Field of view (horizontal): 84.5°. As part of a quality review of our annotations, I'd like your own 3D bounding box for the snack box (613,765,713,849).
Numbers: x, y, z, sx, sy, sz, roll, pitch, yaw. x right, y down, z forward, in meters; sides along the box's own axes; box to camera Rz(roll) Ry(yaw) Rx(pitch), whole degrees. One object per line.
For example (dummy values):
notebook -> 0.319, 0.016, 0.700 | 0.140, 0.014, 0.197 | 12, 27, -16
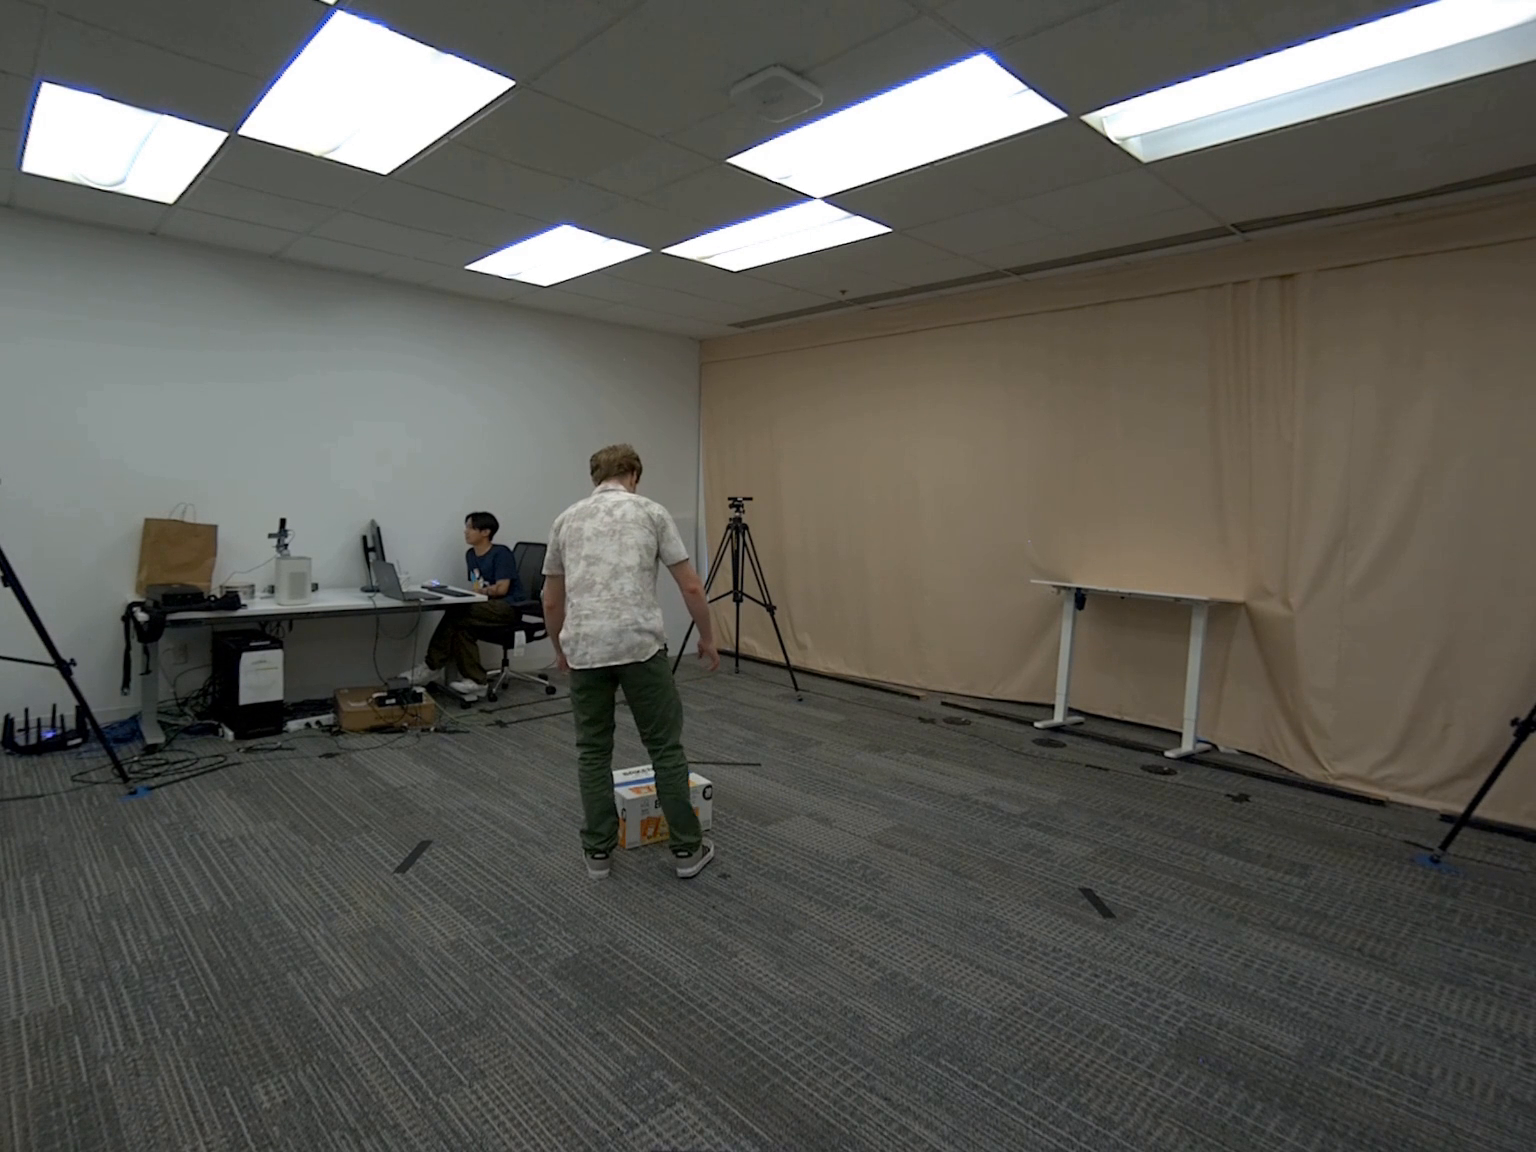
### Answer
snack box -> -0.505, 0.959, 3.557 | 0.396, 0.205, 0.349 | -2, 6, -36
